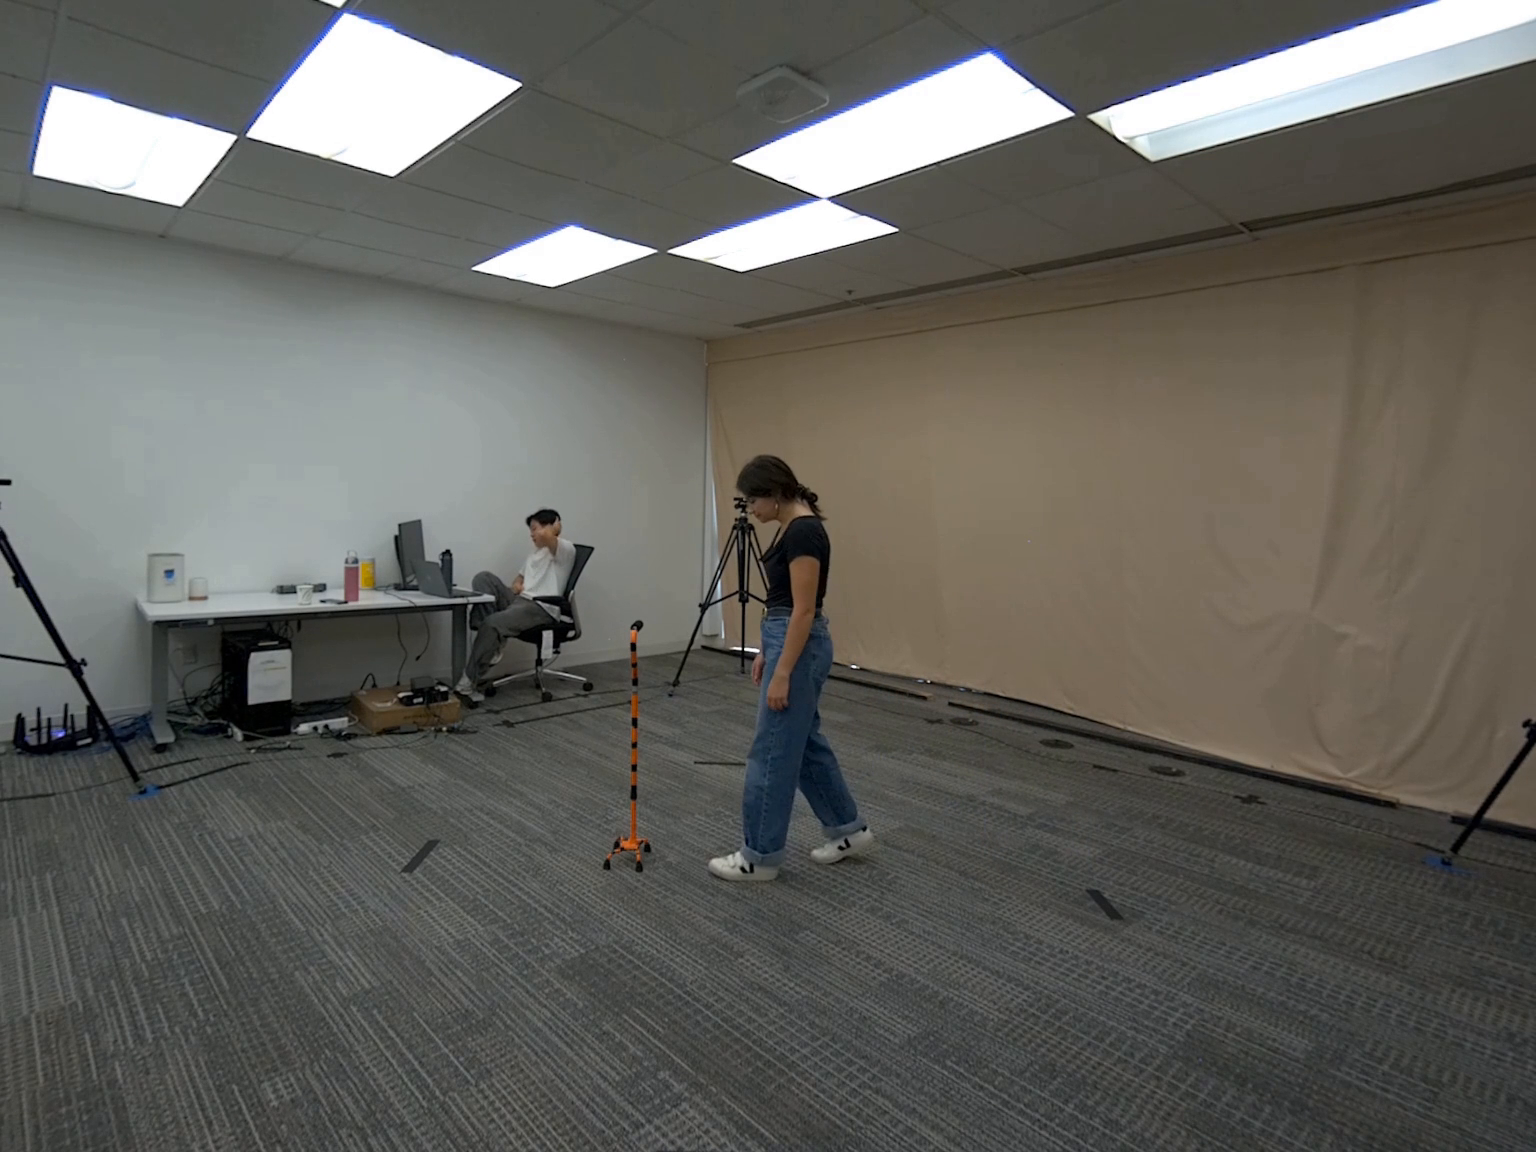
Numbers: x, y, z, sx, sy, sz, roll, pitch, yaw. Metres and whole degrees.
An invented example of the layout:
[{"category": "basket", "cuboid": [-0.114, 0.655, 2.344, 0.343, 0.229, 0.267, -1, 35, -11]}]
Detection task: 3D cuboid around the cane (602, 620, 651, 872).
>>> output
[{"category": "cane", "cuboid": [-0.531, 0.635, 3.206, 0.152, 0.906, 0.206, 2, 3, 2]}]
